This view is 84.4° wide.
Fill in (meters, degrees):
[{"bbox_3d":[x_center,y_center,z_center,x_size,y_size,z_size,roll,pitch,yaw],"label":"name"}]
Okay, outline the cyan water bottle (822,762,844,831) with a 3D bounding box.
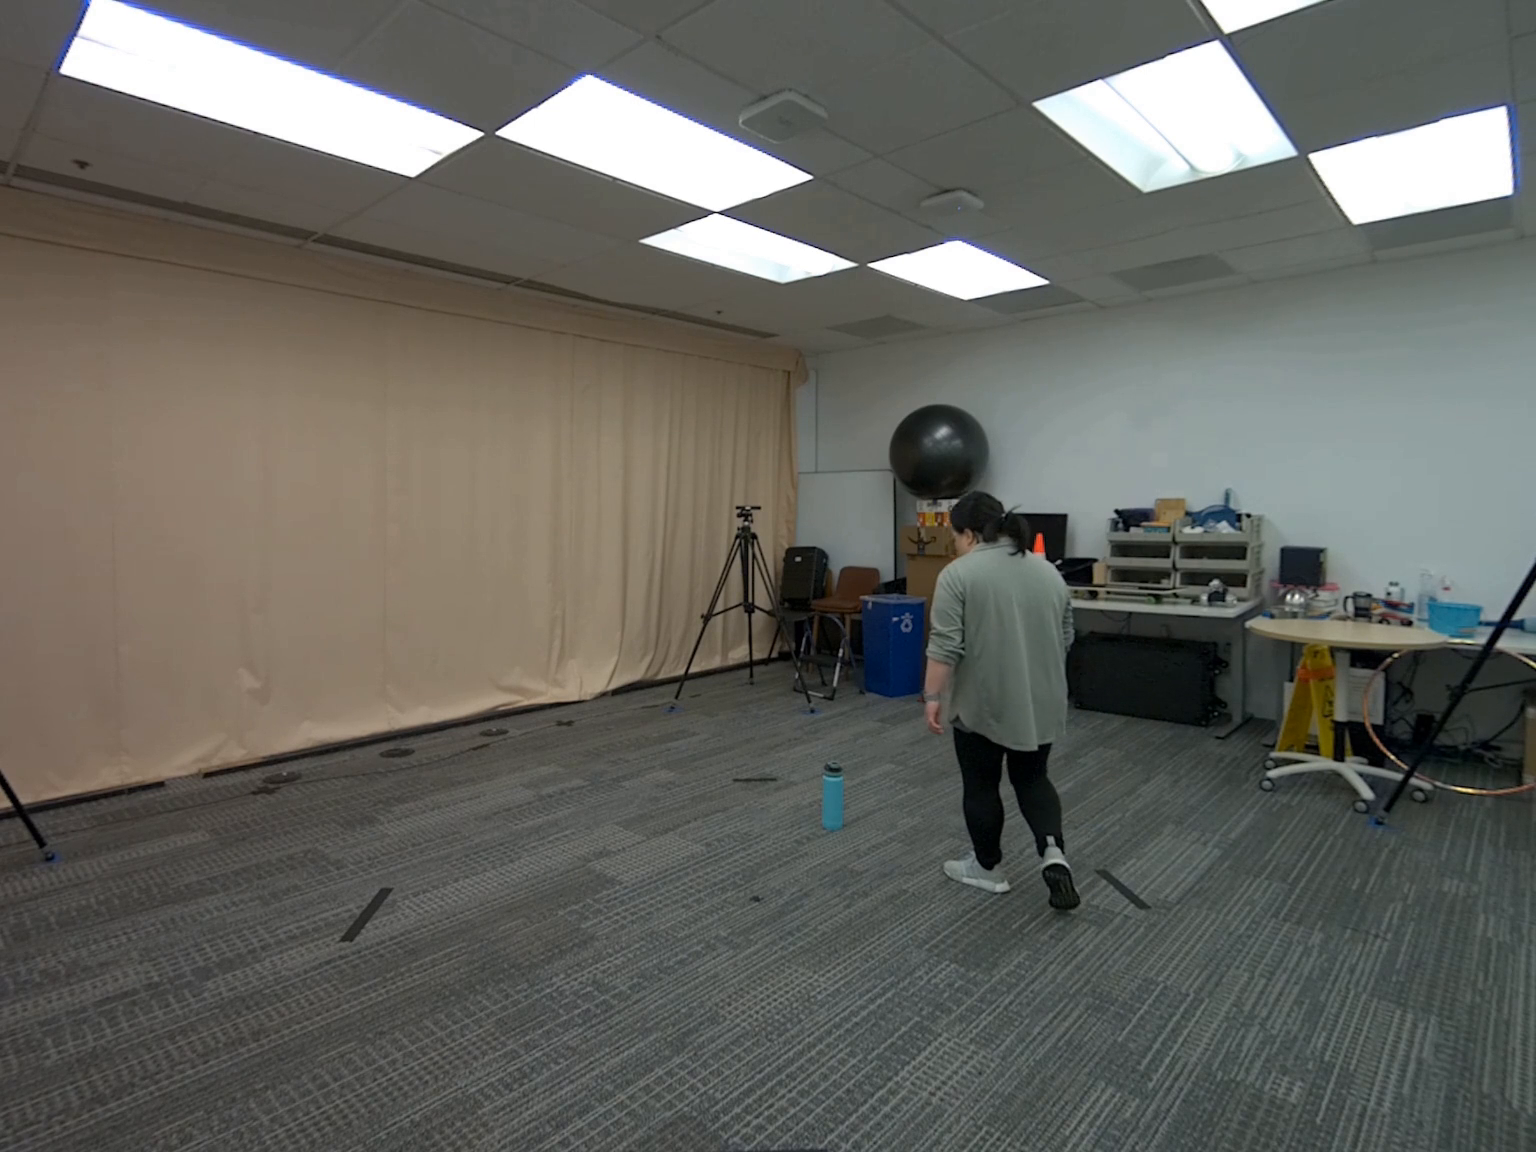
[{"bbox_3d":[0.289,0.951,3.657,0.092,0.283,0.092,2,0,-2],"label":"cyan water bottle"}]
